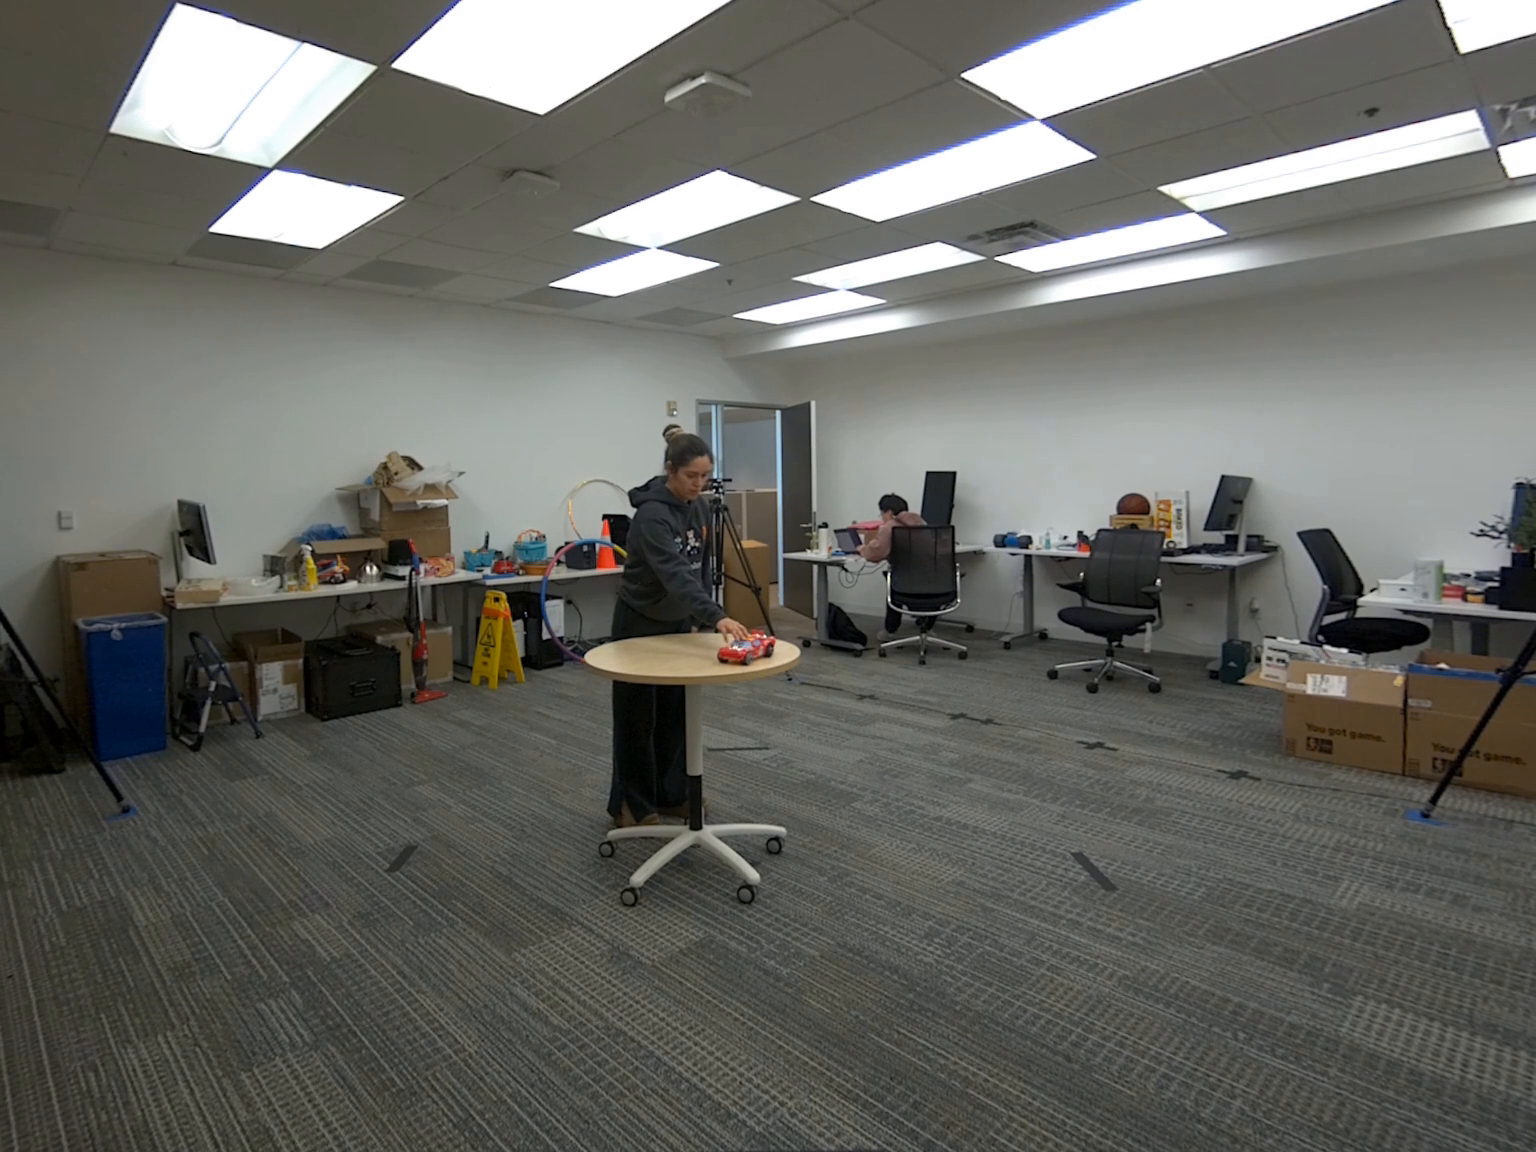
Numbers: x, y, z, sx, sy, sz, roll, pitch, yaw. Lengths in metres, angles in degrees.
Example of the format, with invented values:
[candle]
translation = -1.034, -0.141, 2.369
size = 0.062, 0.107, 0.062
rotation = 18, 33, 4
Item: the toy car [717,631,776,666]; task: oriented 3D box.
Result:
[toy car]
translation = -0.055, 0.251, 2.912
size = 0.133, 0.082, 0.252
rotation = 1, 18, 29
